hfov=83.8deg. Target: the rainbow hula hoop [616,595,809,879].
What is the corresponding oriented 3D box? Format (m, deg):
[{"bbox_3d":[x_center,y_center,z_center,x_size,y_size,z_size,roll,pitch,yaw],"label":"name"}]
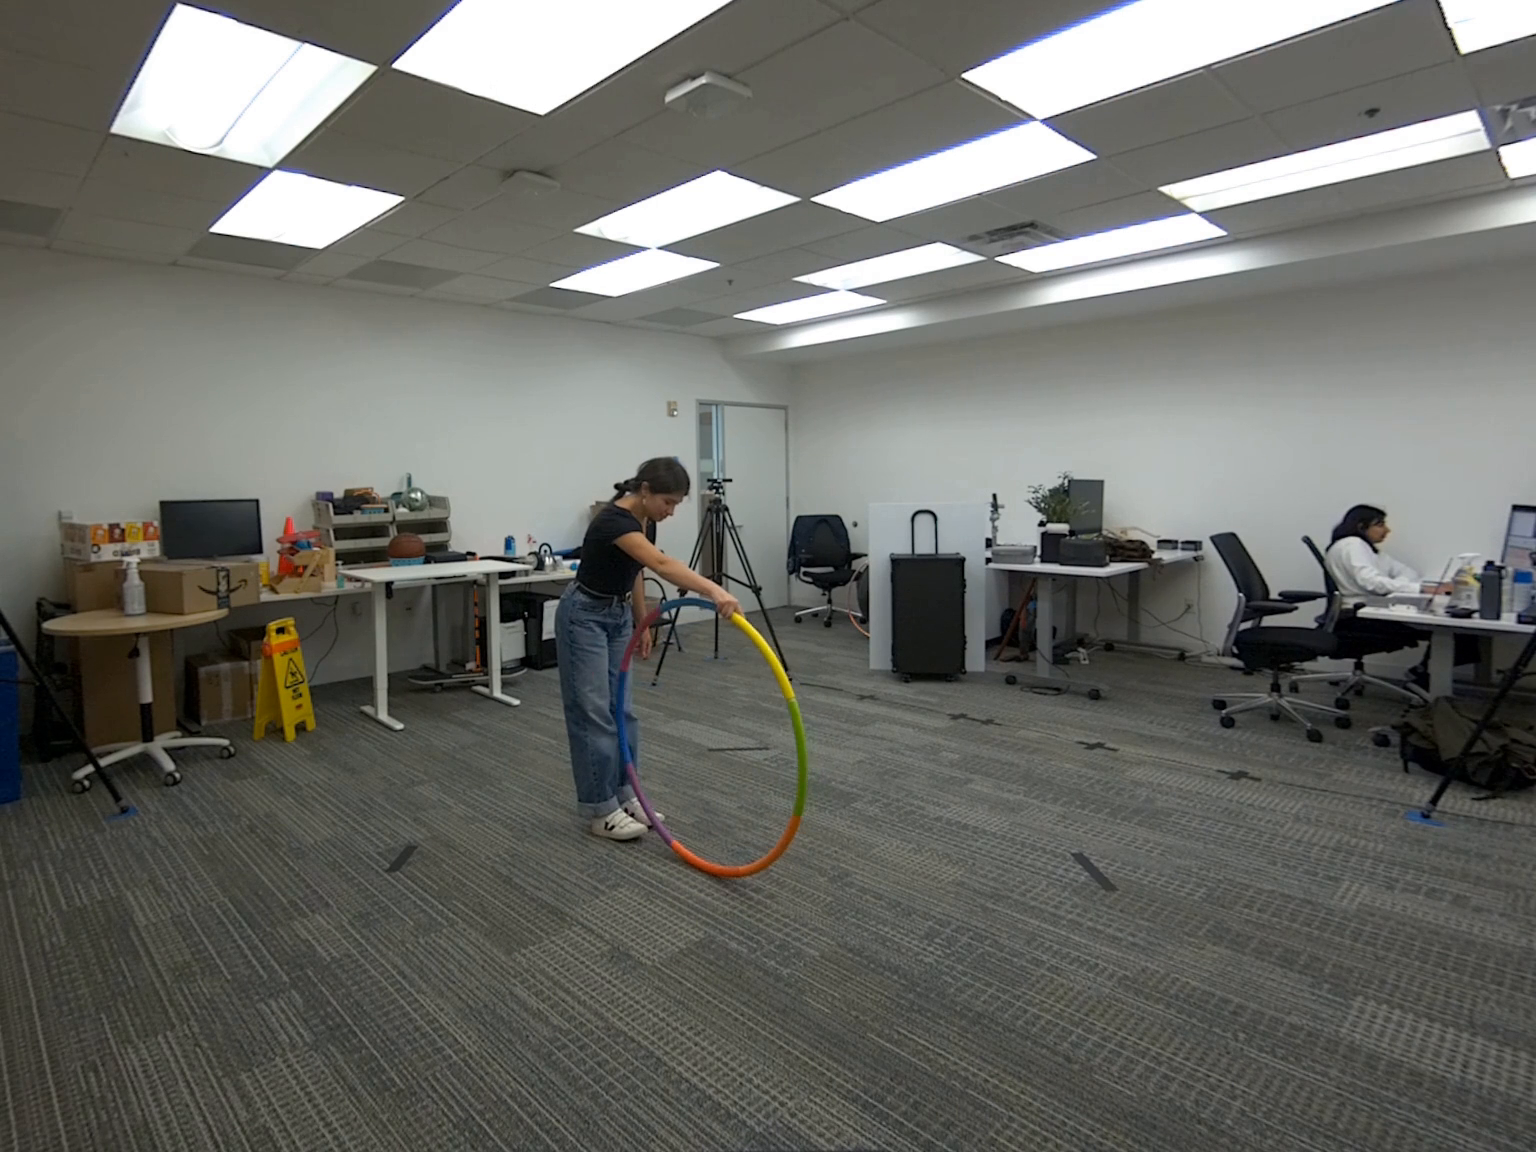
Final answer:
[{"bbox_3d":[-0.230,0.569,3.040,0.034,0.976,1.009,-3,5,-44],"label":"rainbow hula hoop"}]
